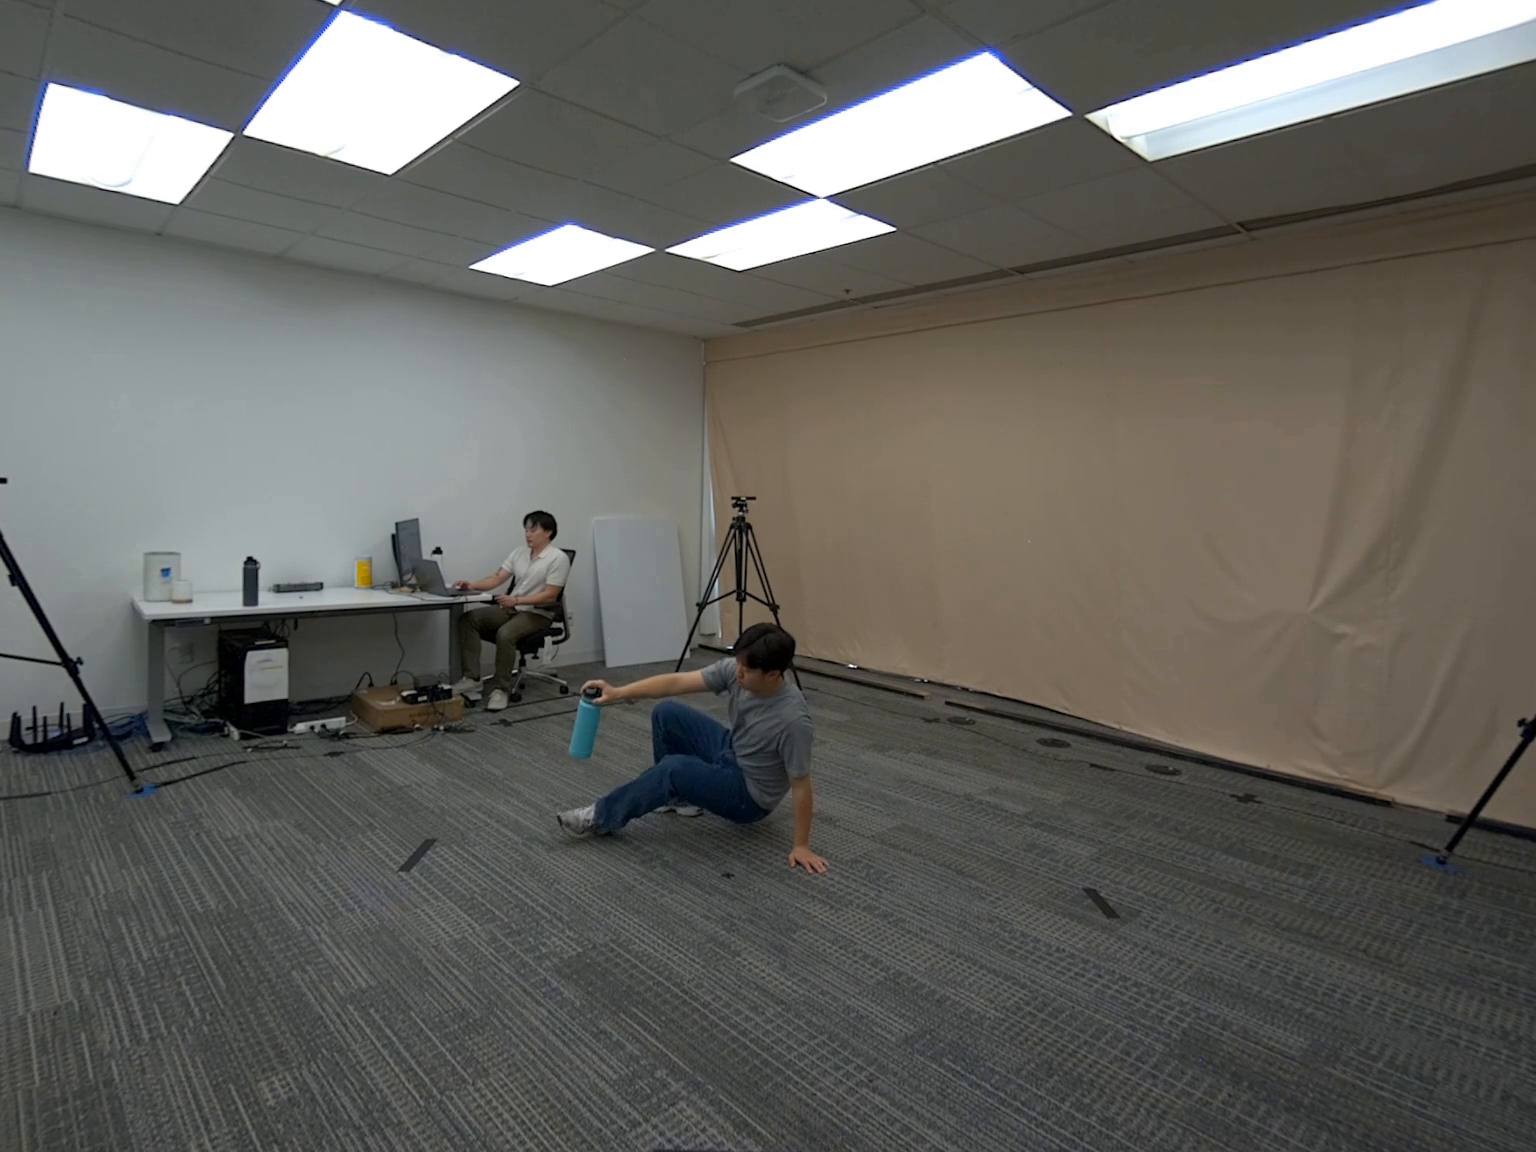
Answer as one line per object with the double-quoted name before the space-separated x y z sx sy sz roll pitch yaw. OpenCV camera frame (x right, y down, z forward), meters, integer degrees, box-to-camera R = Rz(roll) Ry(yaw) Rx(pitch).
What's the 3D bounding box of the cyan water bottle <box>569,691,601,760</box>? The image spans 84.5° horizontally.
"cyan water bottle" -0.703 0.560 3.272 0.092 0.282 0.093 12 10 -4
